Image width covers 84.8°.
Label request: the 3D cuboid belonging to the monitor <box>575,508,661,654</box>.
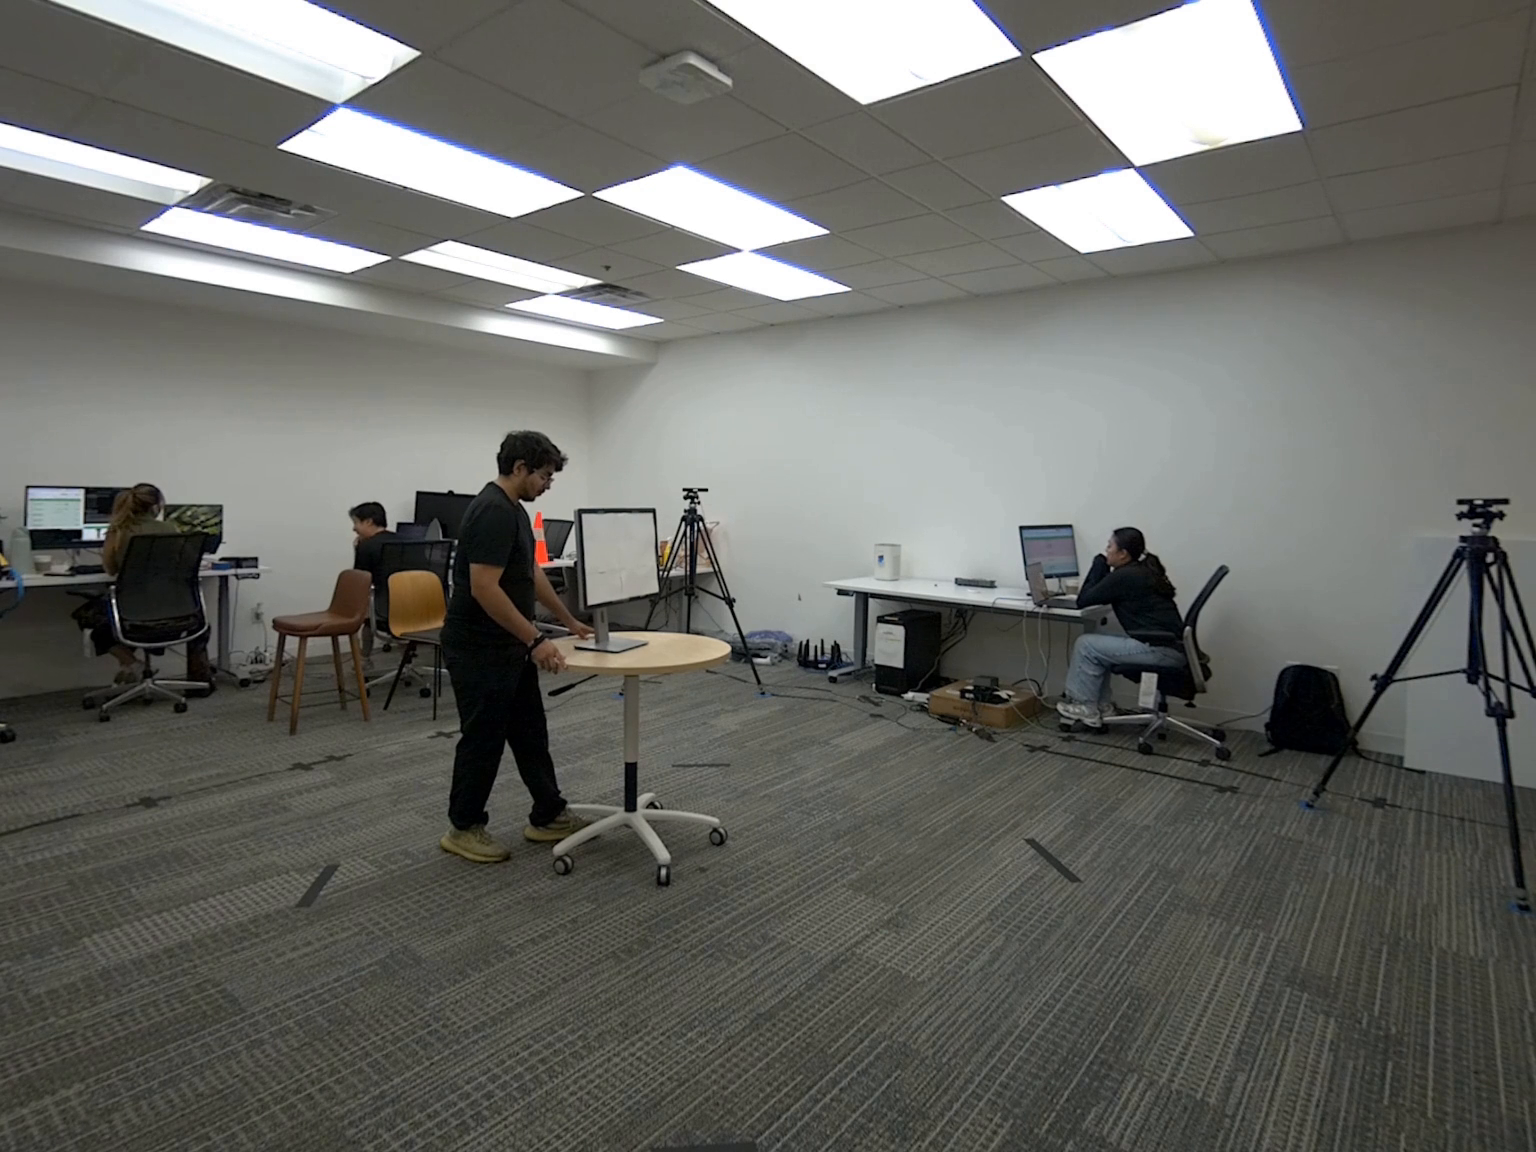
[{"bbox_3d":[-0.641,0.010,3.300,0.215,0.553,0.553,0,3,24],"label":"monitor"}]
